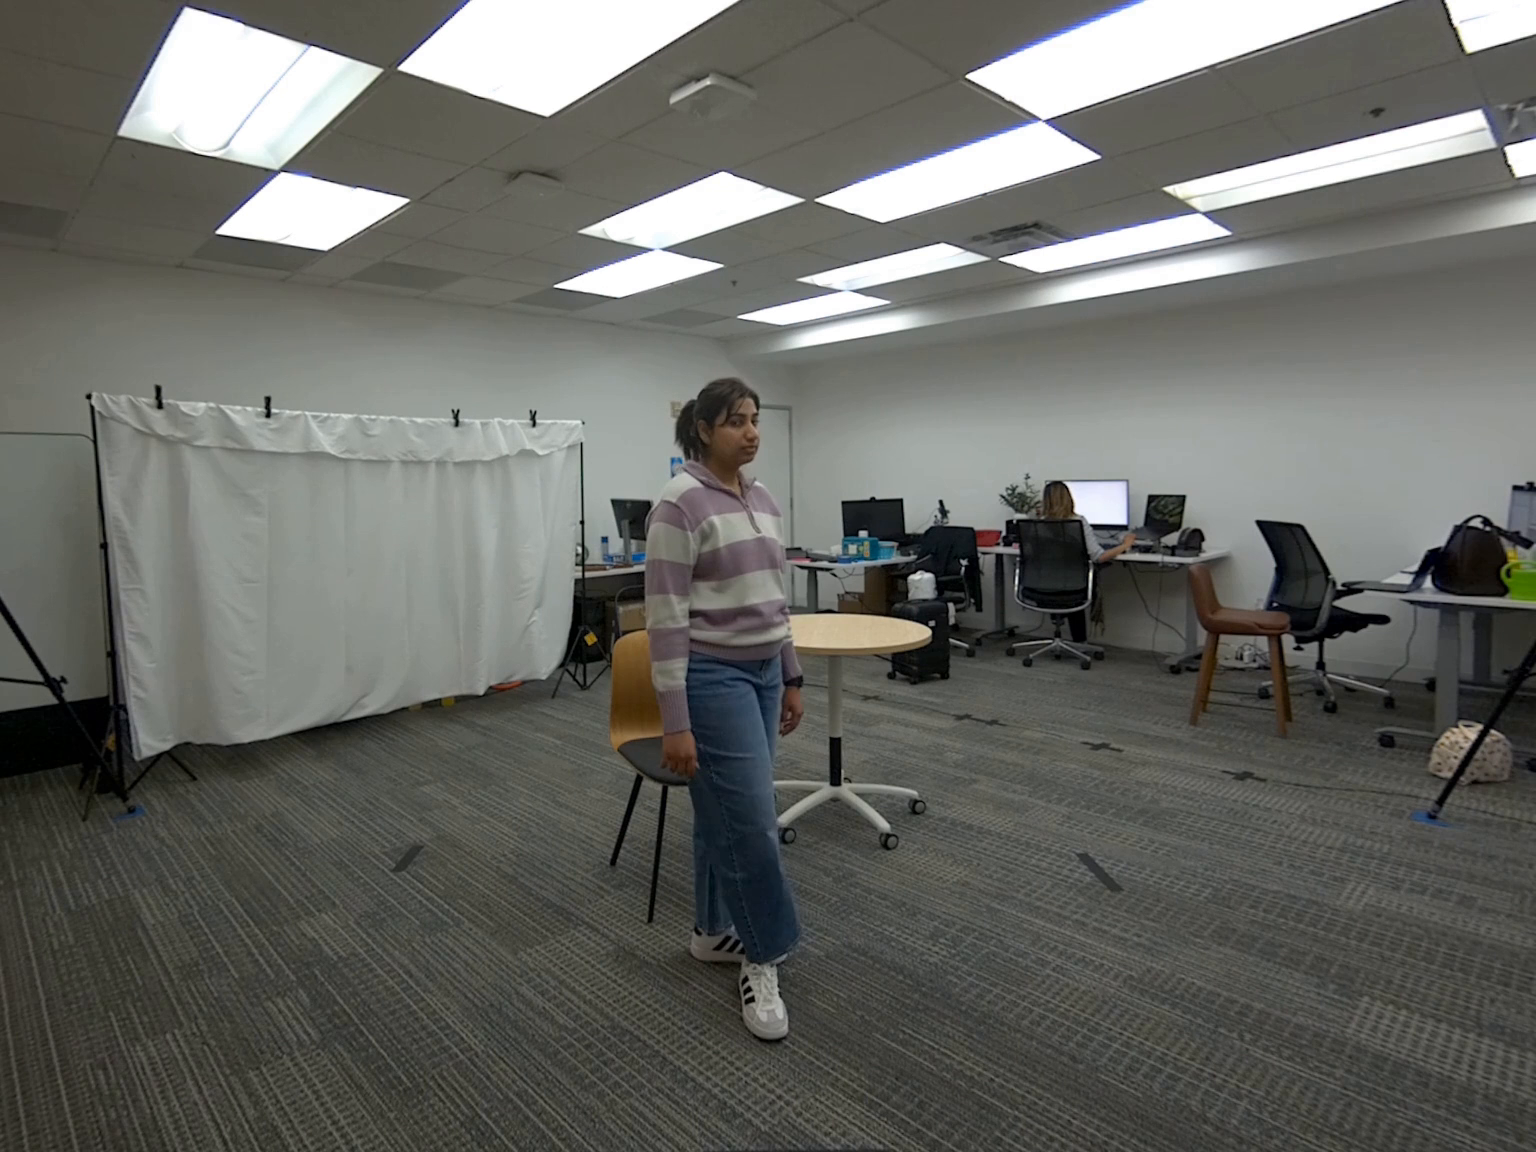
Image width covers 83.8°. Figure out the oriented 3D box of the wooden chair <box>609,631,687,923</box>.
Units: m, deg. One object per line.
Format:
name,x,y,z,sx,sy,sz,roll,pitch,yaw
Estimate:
wooden chair,-0.277,0.640,2.951,0.468,0.877,0.534,-3,1,-25
